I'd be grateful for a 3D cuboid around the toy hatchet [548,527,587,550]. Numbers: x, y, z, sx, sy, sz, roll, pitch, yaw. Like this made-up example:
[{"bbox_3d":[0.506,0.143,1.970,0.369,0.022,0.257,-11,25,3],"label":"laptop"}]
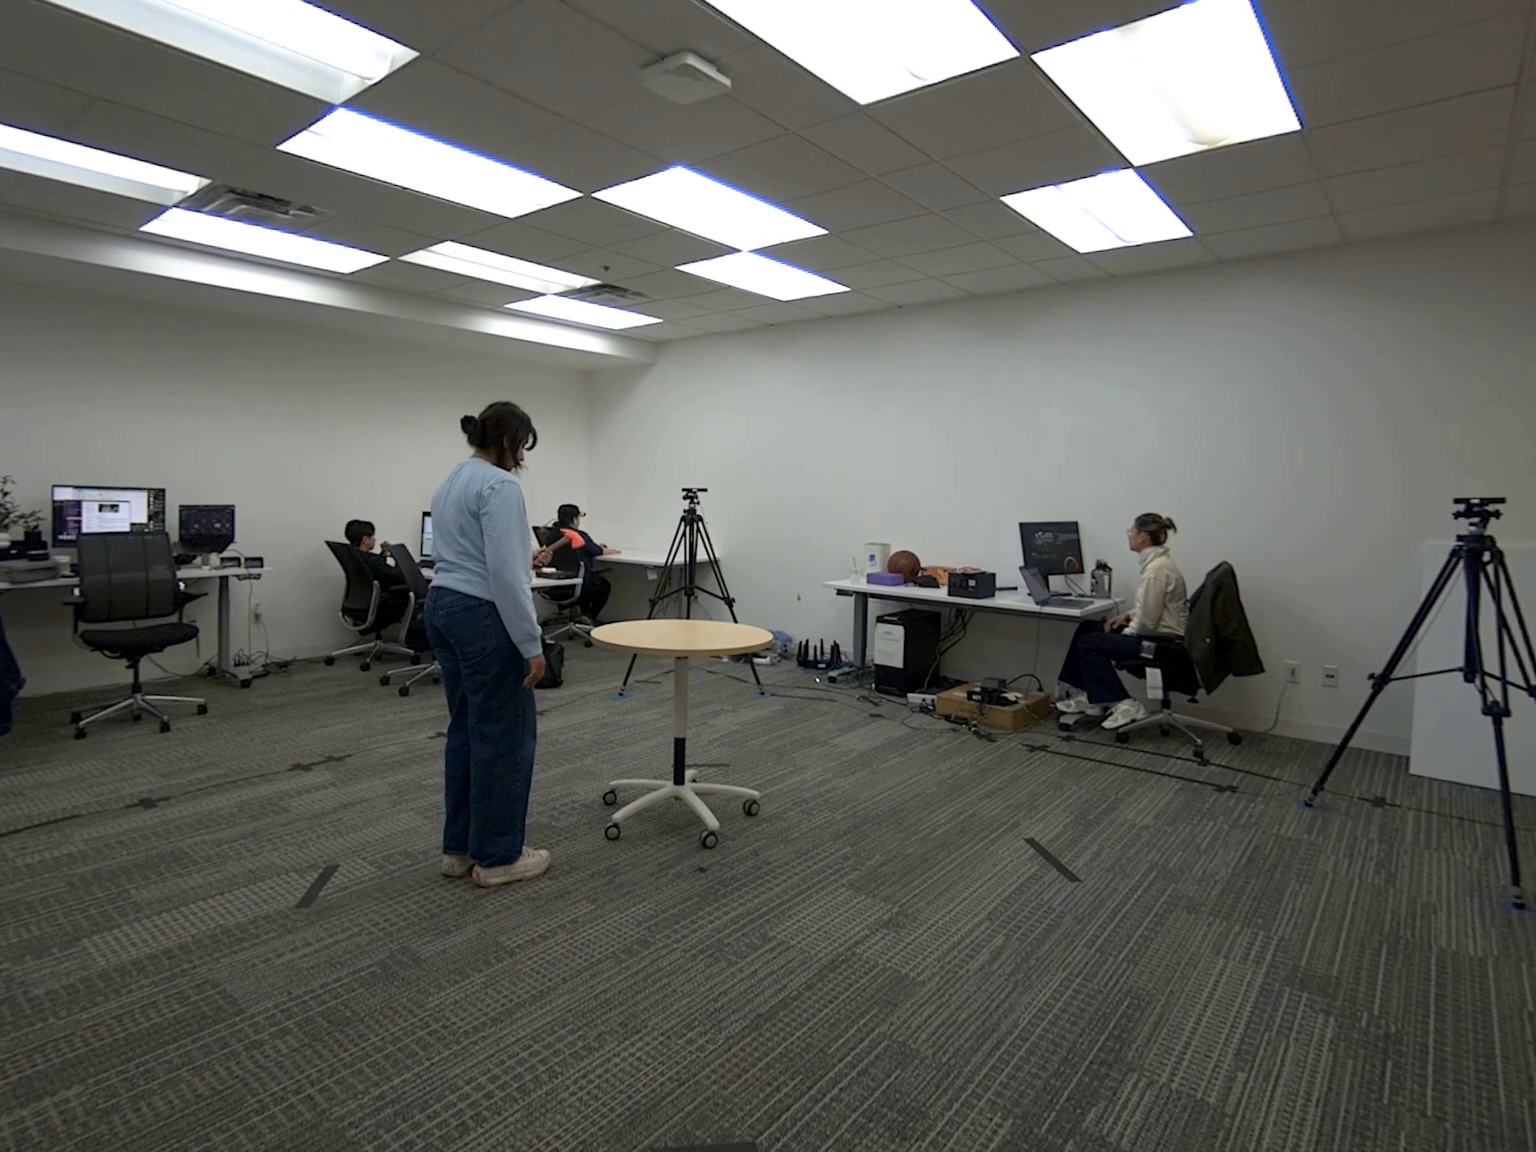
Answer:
[{"bbox_3d":[-0.841,-0.107,3.432,0.132,0.029,0.273,18,36,6],"label":"toy hatchet"}]
